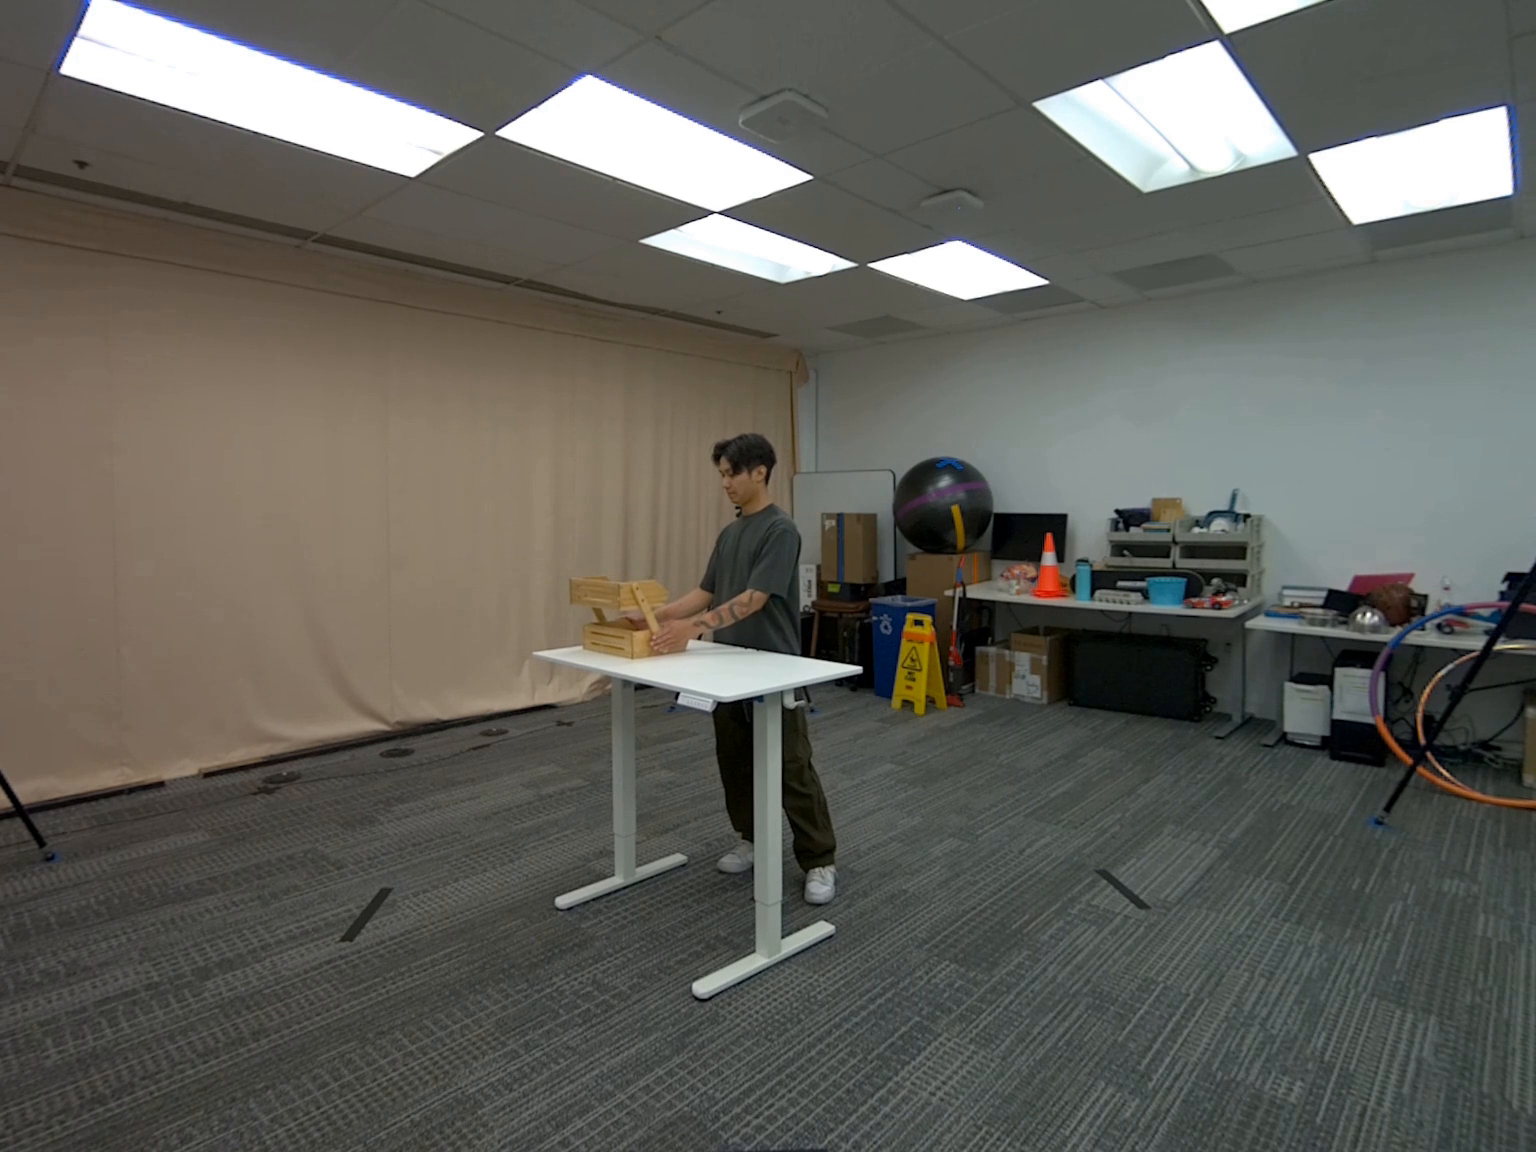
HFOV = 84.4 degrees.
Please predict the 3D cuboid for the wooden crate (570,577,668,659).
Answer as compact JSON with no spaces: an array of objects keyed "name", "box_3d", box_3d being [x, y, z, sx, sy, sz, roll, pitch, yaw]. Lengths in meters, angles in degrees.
[{"name":"wooden crate","box_3d":[-0.490,0.135,2.987,0.293,0.273,0.335,-4,5,-44]}]
